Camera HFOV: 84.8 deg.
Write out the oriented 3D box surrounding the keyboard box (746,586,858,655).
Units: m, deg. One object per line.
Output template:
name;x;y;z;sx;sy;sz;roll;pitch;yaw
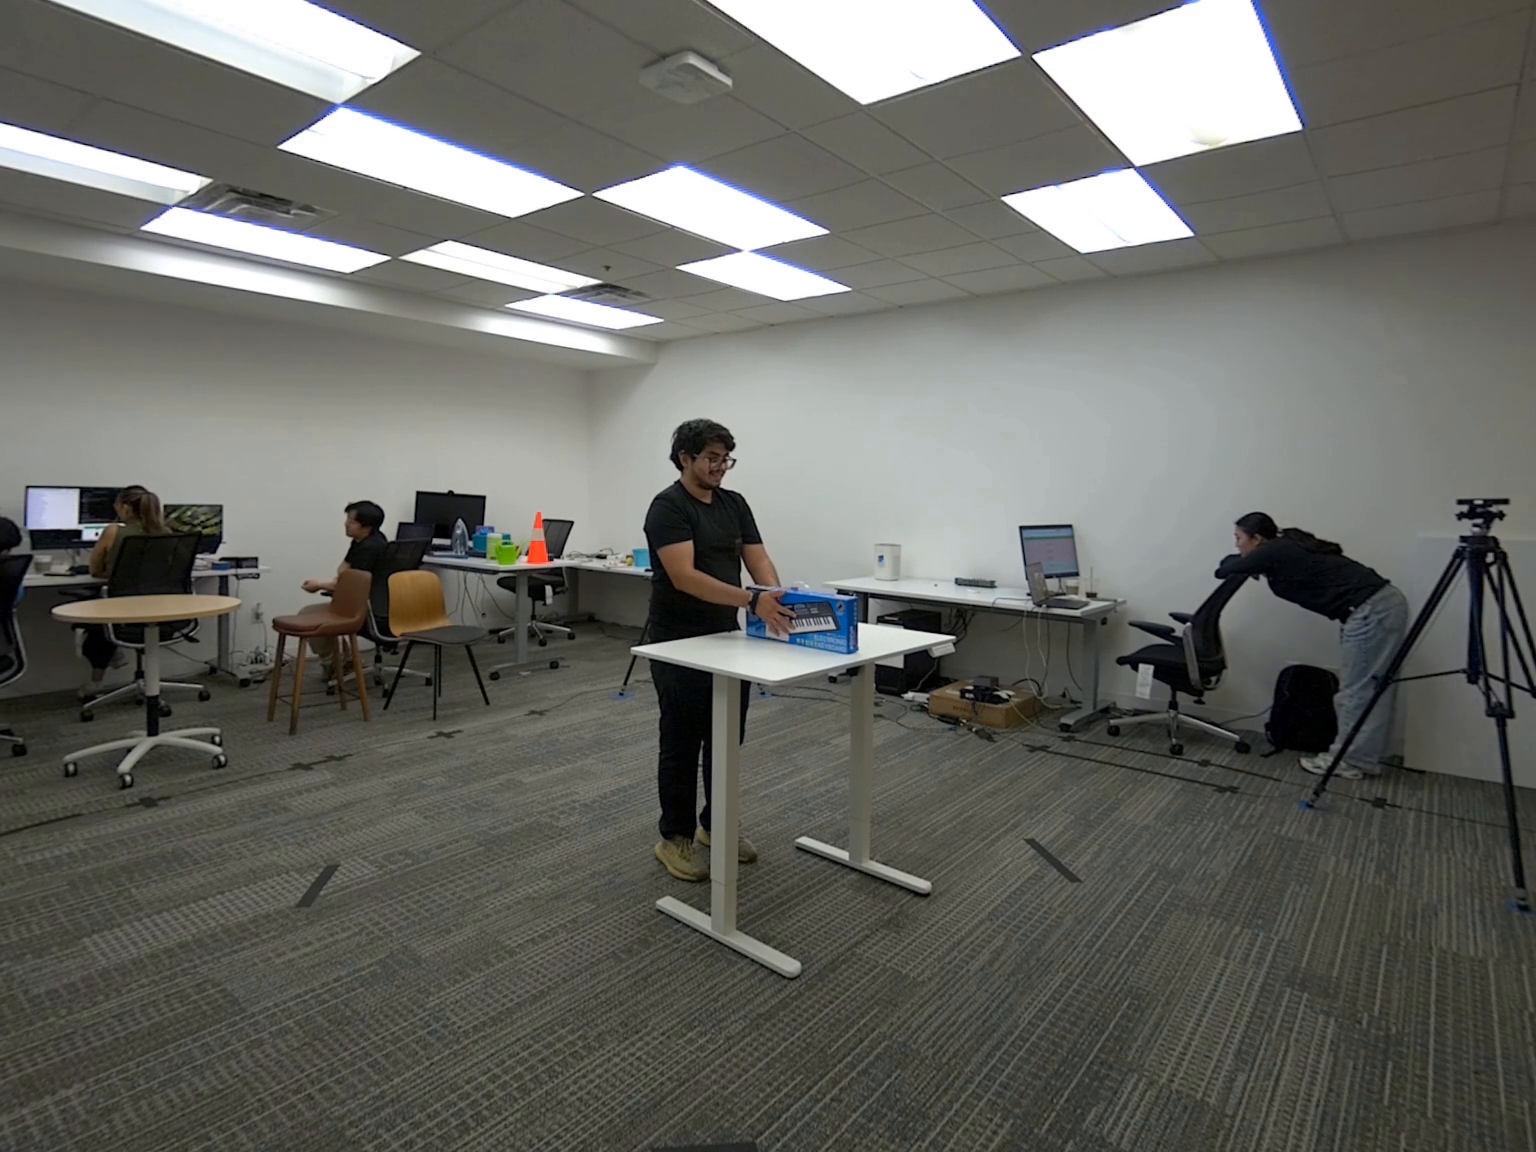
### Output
keyboard box;0.100;0.139;2.806;0.452;0.175;0.057;6;8;44
